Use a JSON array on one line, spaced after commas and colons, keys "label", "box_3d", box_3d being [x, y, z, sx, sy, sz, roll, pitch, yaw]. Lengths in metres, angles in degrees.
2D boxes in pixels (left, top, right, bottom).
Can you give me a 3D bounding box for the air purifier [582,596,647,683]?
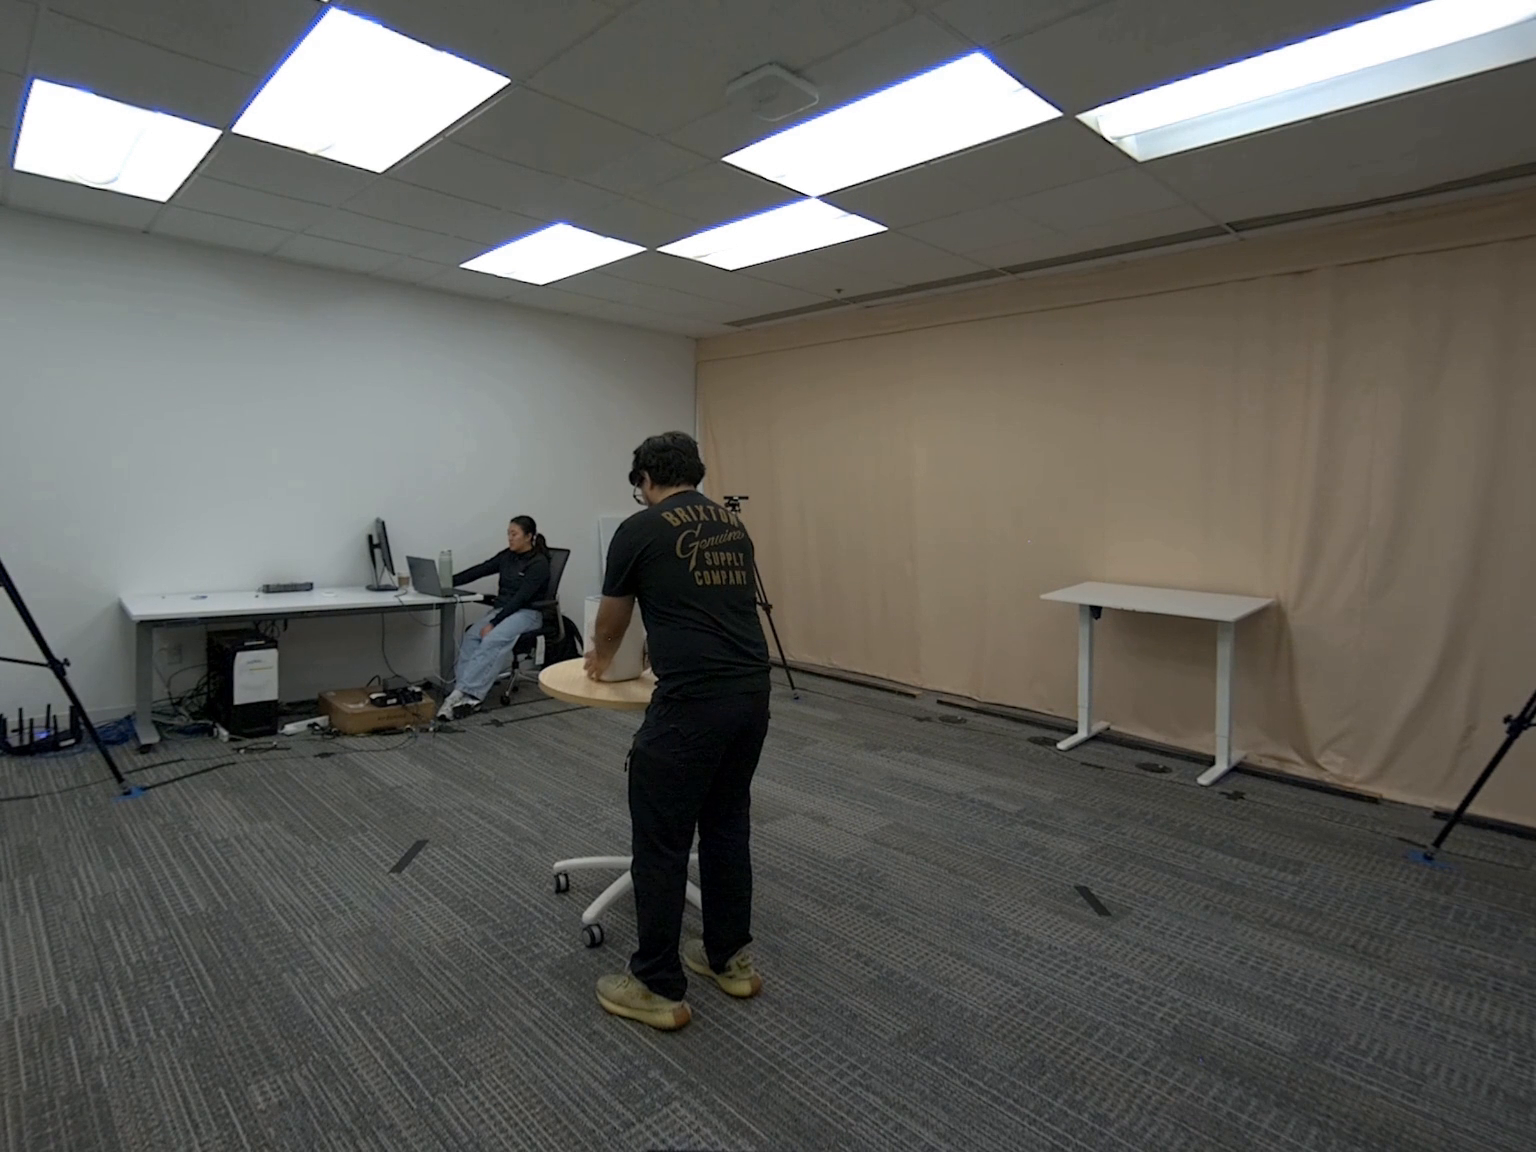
[{"label": "air purifier", "box_3d": [-0.517, 0.208, 2.795, 0.176, 0.264, 0.167, 3, 5, 40]}]
